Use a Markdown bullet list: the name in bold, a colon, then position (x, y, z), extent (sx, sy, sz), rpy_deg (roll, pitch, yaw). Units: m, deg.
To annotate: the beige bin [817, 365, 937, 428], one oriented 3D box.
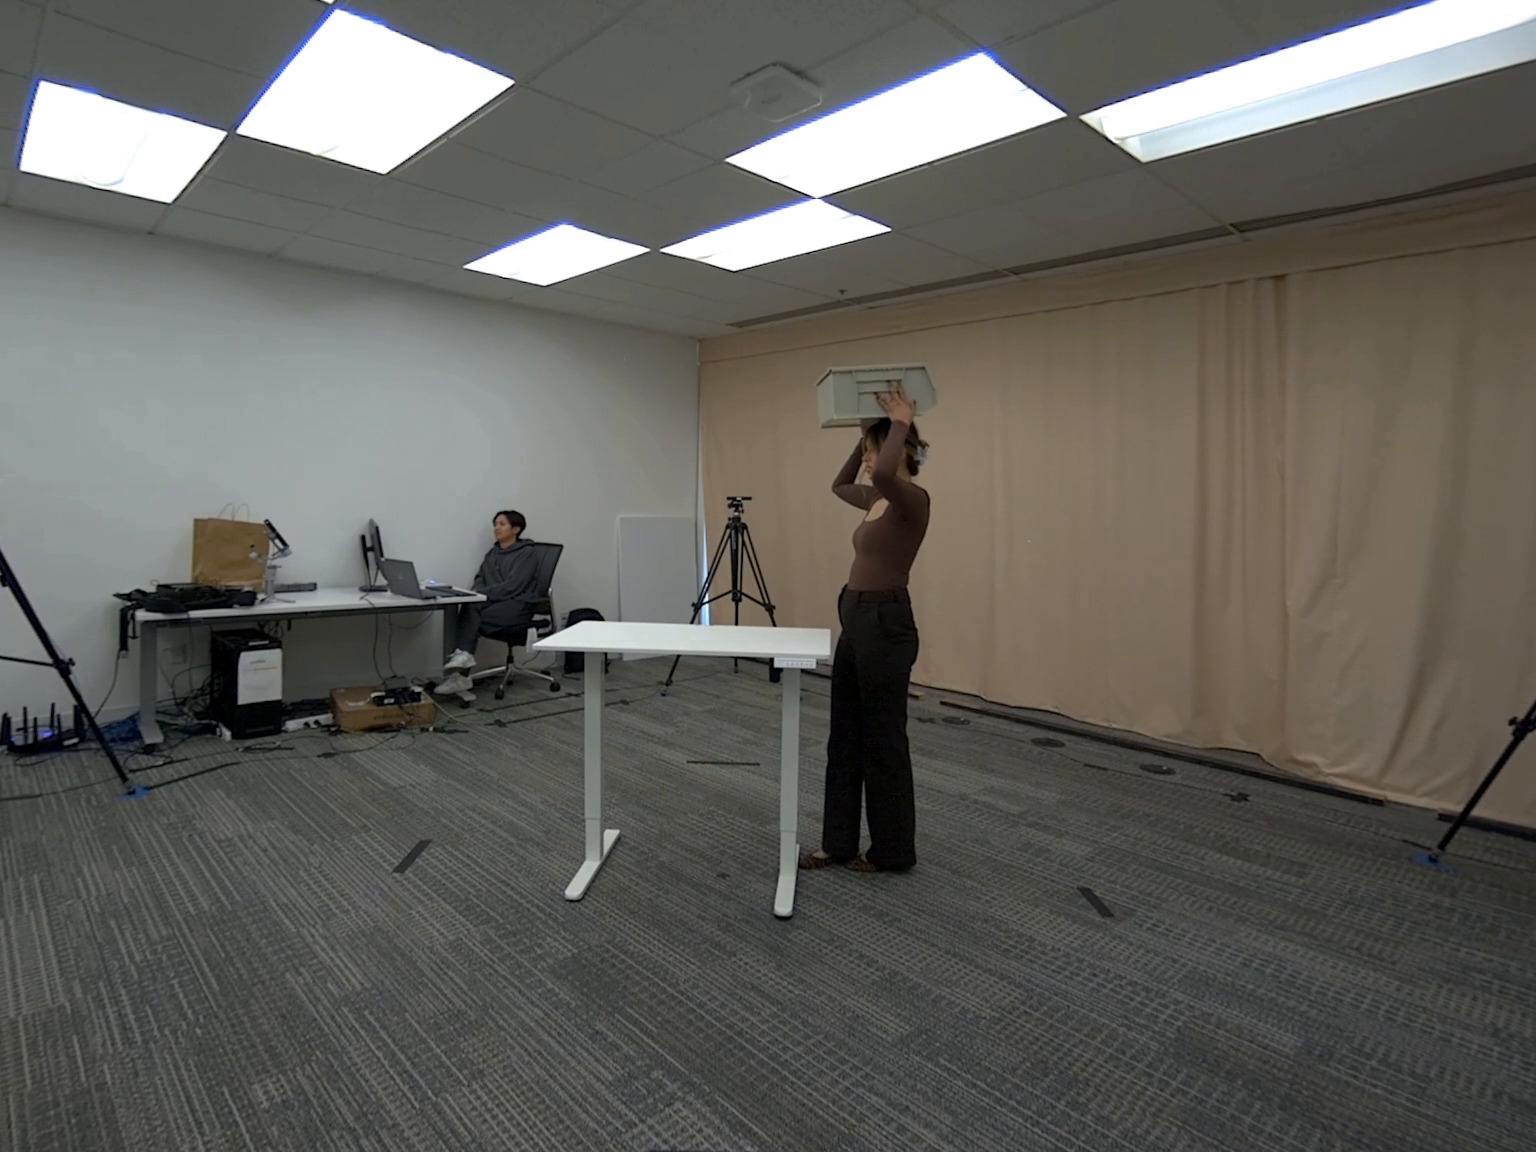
- **beige bin**: position (0.390, -0.674, 3.142), extent (0.377, 0.188, 0.424), rpy_deg (-6, 5, -2)
